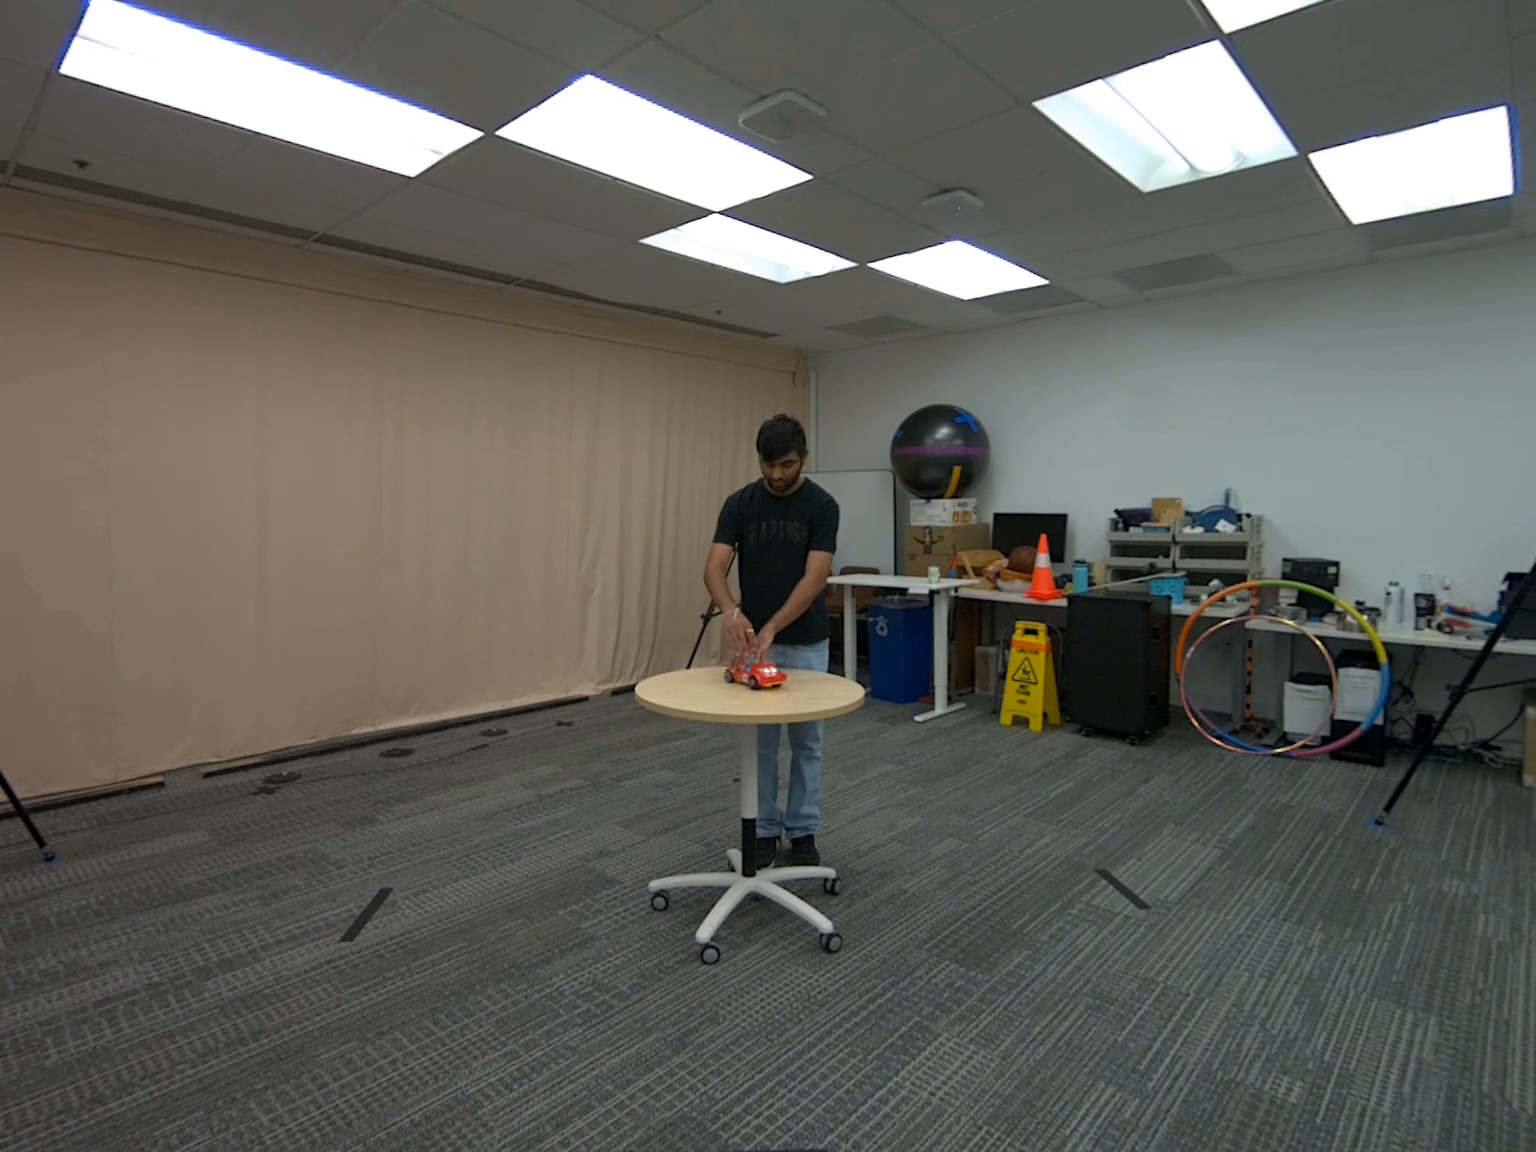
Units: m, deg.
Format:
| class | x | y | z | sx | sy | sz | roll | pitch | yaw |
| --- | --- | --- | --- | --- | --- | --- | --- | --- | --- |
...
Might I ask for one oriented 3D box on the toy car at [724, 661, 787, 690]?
| class | x | y | z | sx | sy | sz | roll | pitch | yaw |
| --- | --- | --- | --- | --- | --- | --- | --- | --- | --- |
| toy car | -0.034 | 0.339 | 2.860 | 0.126 | 0.083 | 0.261 | -3 | -5 | -36 |
